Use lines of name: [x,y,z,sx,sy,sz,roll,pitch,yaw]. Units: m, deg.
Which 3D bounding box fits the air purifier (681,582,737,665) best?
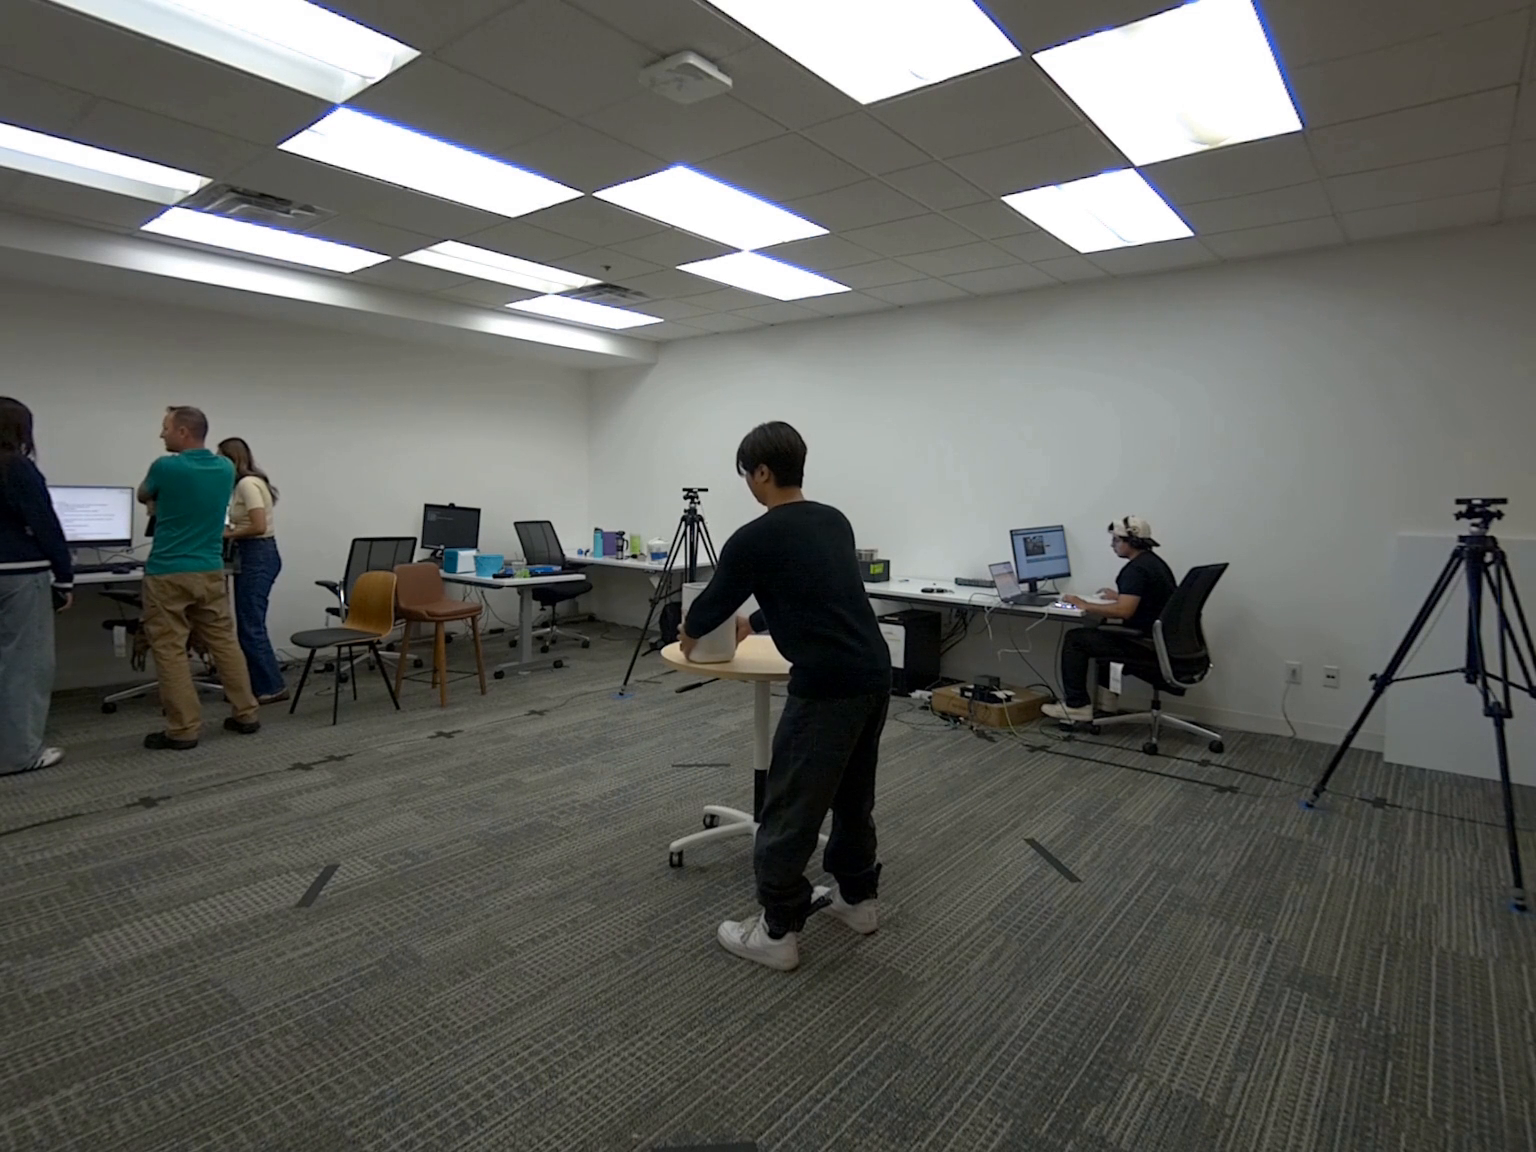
air purifier: [-0.215,0.161,3.021,0.167,0.264,0.176,-1,5,-26]
